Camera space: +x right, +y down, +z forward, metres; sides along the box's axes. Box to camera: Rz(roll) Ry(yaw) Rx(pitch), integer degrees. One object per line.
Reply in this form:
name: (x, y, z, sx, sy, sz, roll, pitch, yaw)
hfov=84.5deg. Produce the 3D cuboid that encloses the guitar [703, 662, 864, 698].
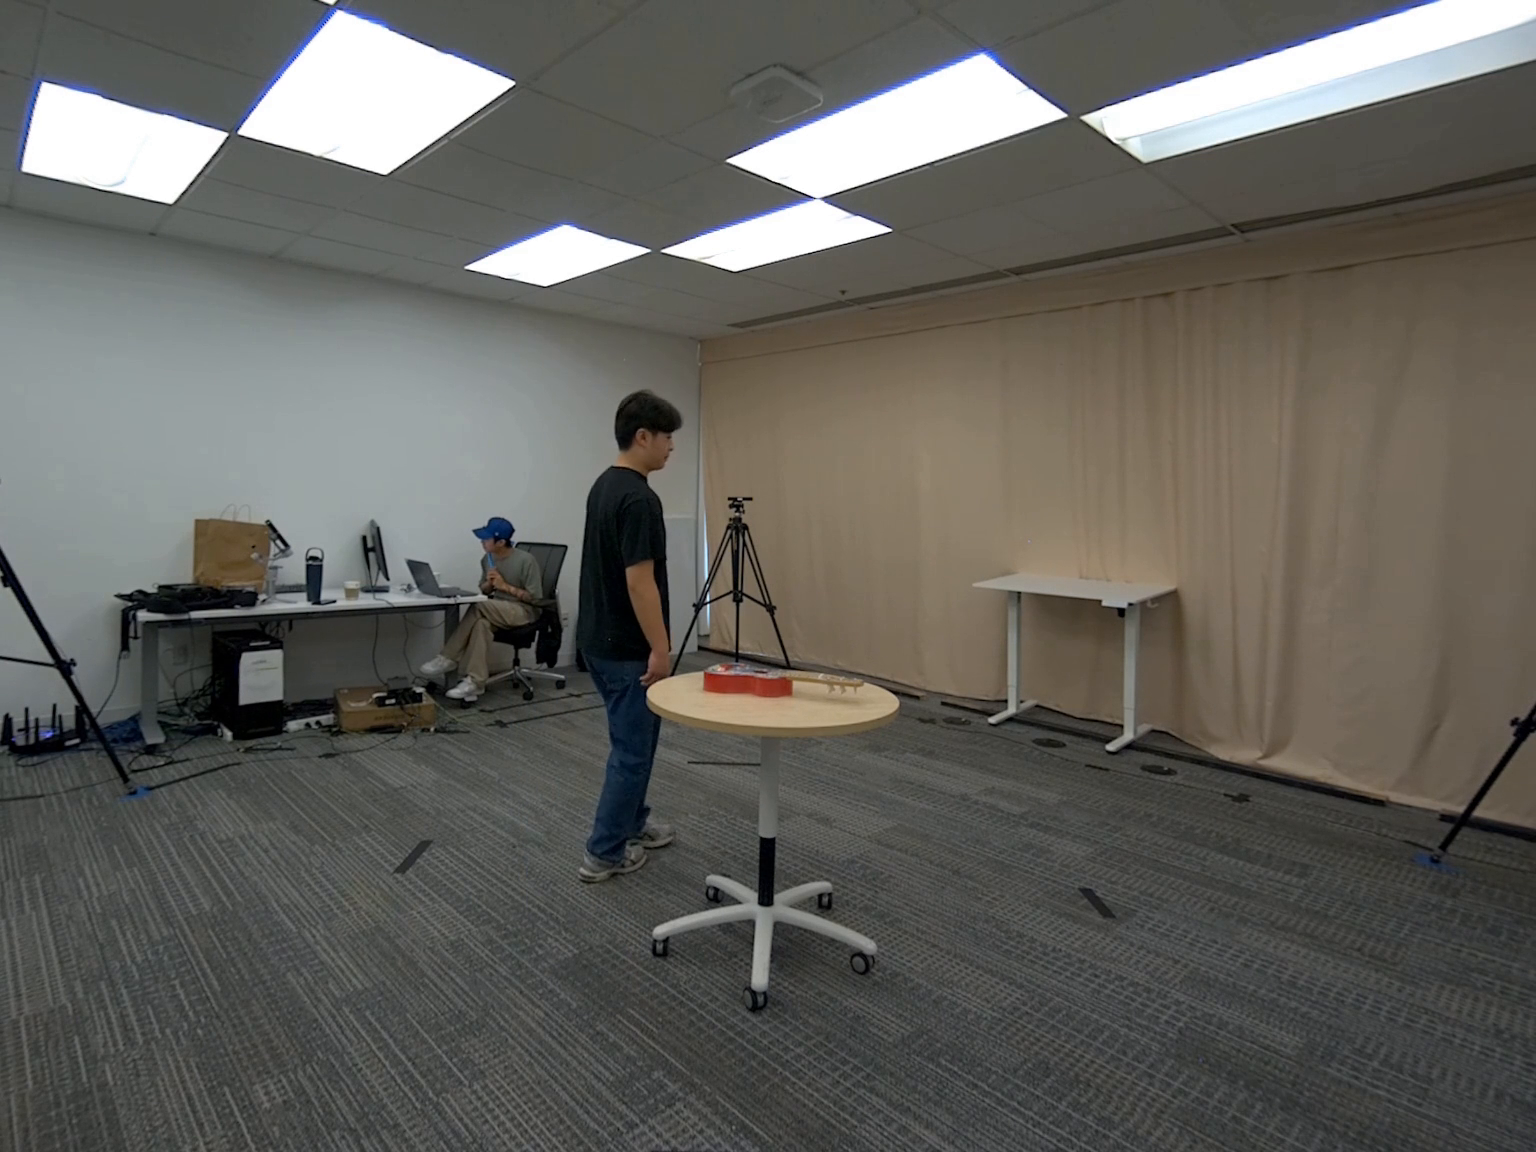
guitar: (0.027, 0.334, 2.549, 0.509, 0.070, 0.189, 4, 6, 31)
